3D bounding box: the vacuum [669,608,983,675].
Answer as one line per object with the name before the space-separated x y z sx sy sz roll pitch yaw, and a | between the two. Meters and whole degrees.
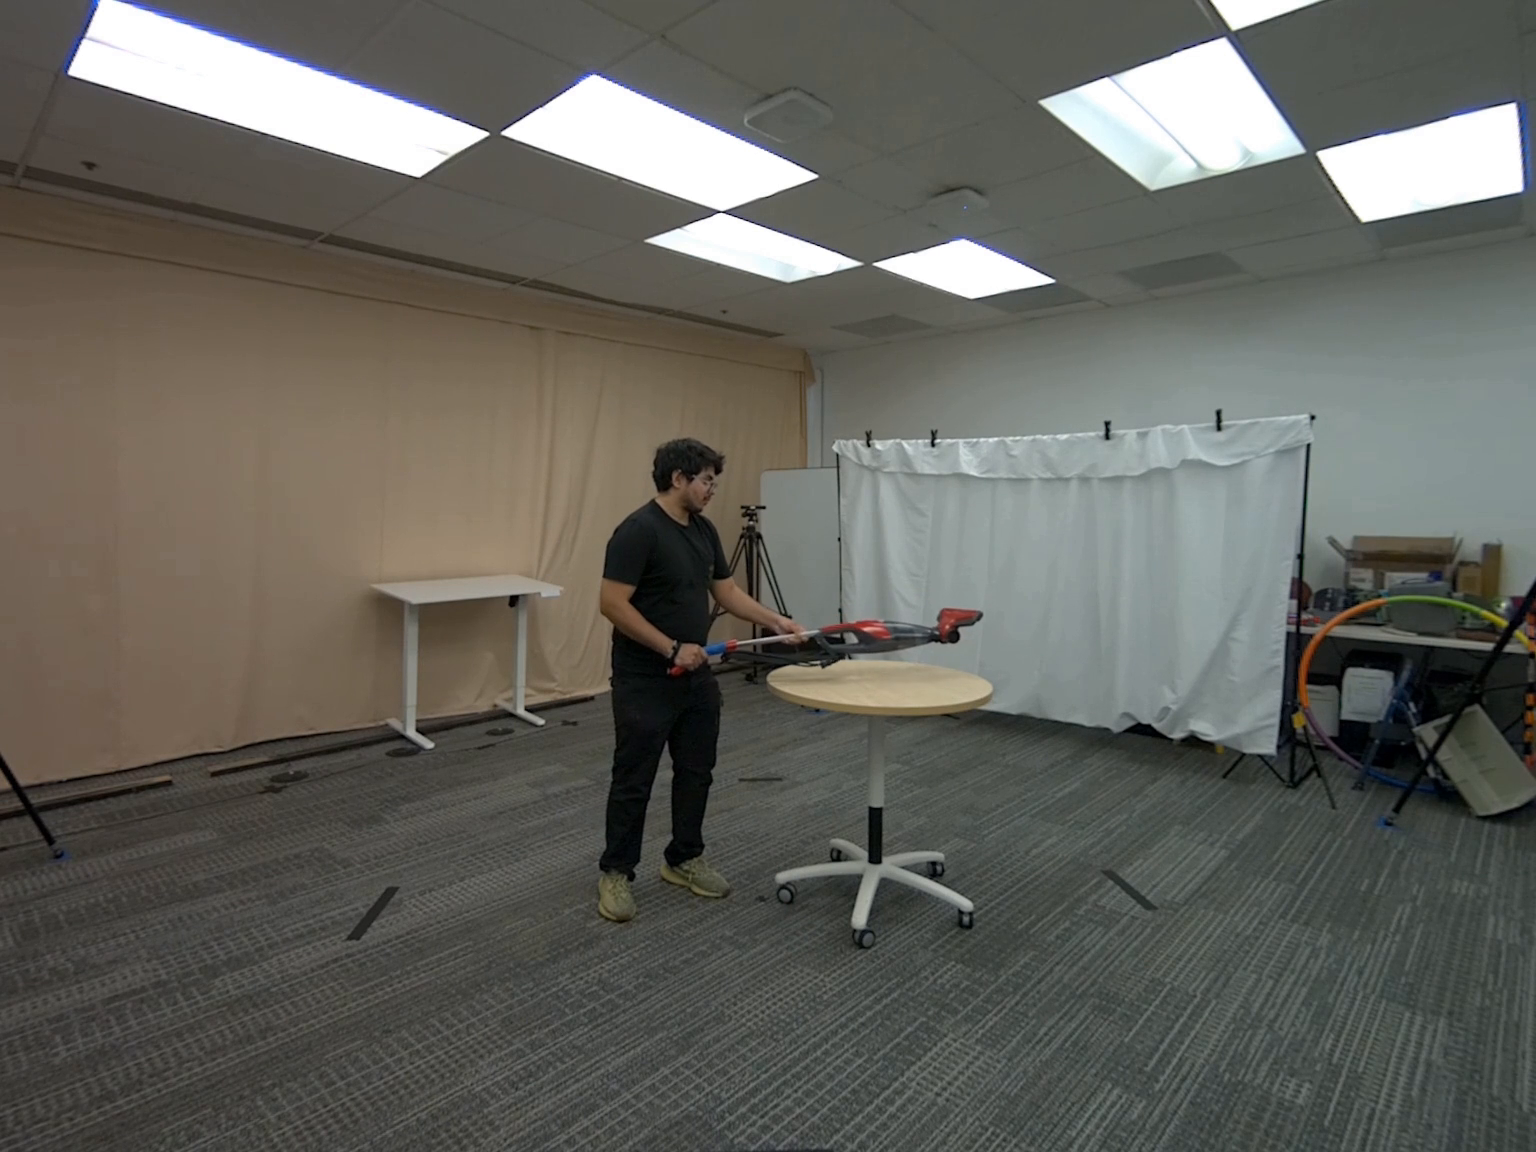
vacuum | 0.196 0.248 2.932 1.035 0.144 0.256 -7 -1 -14
